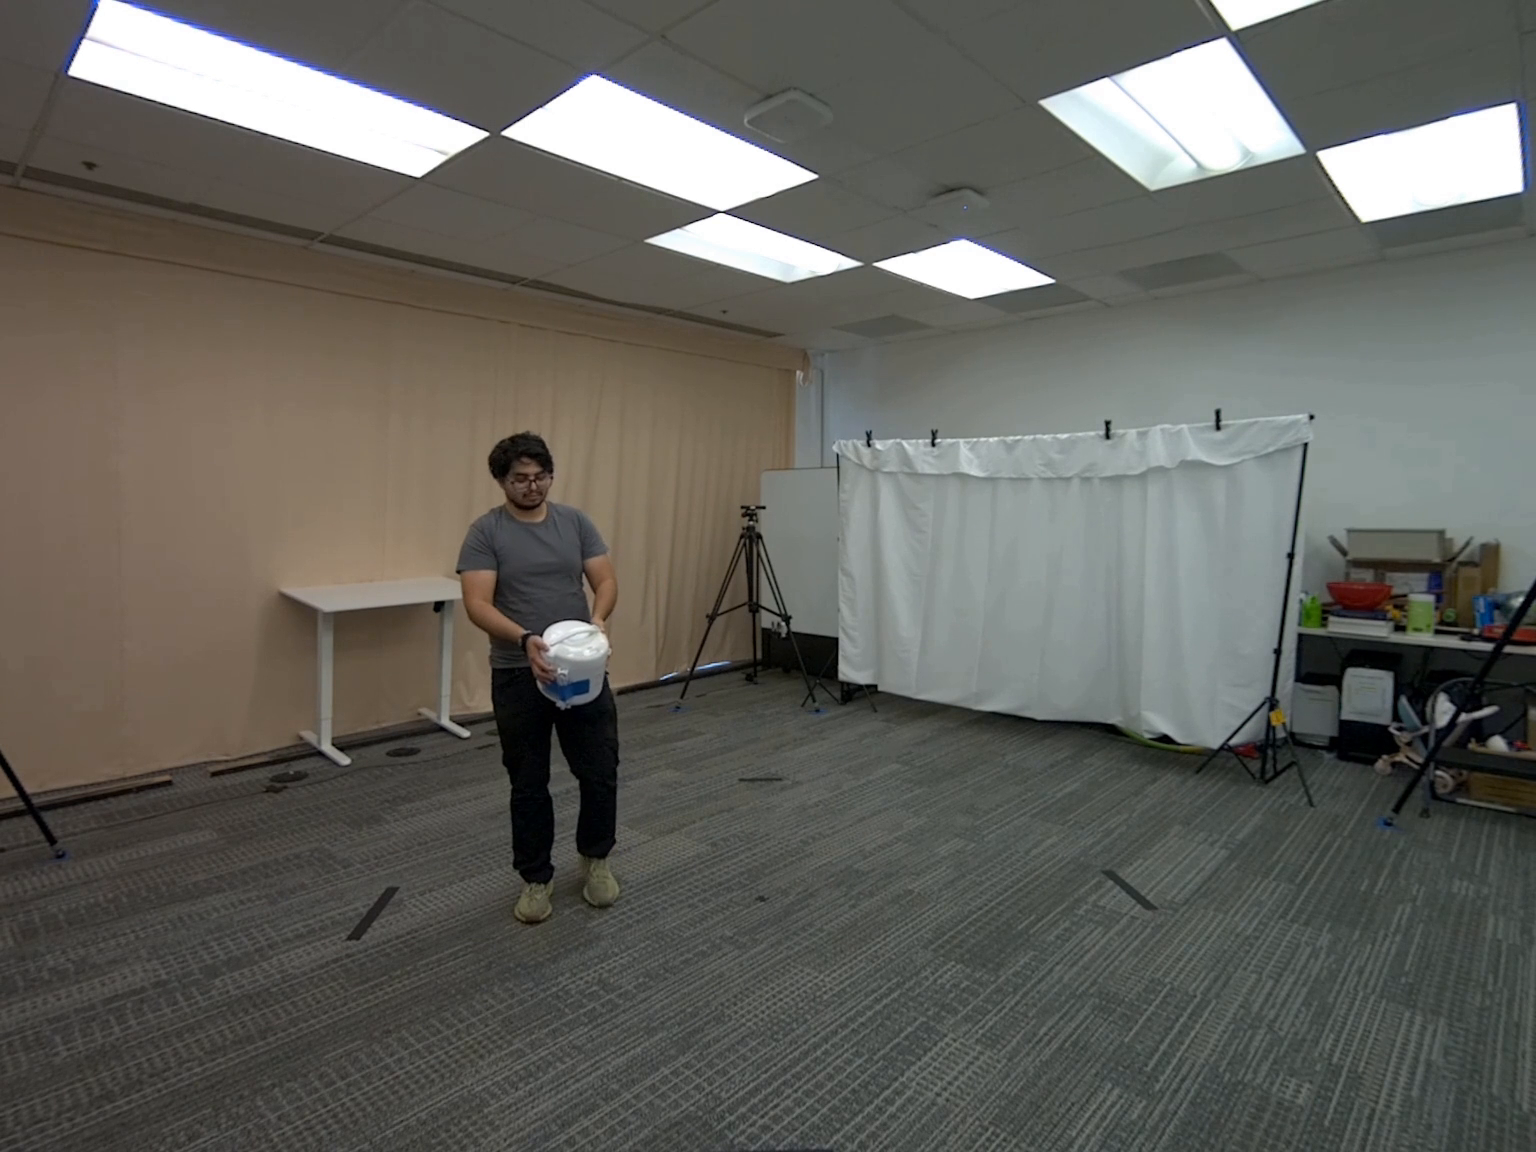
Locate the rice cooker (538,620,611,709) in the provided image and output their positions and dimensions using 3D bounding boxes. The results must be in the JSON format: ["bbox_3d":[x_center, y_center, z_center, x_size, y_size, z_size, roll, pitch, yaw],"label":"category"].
[{"bbox_3d":[-0.608,0.261,2.619,0.214,0.231,0.225,-9,35,-40],"label":"rice cooker"}]
